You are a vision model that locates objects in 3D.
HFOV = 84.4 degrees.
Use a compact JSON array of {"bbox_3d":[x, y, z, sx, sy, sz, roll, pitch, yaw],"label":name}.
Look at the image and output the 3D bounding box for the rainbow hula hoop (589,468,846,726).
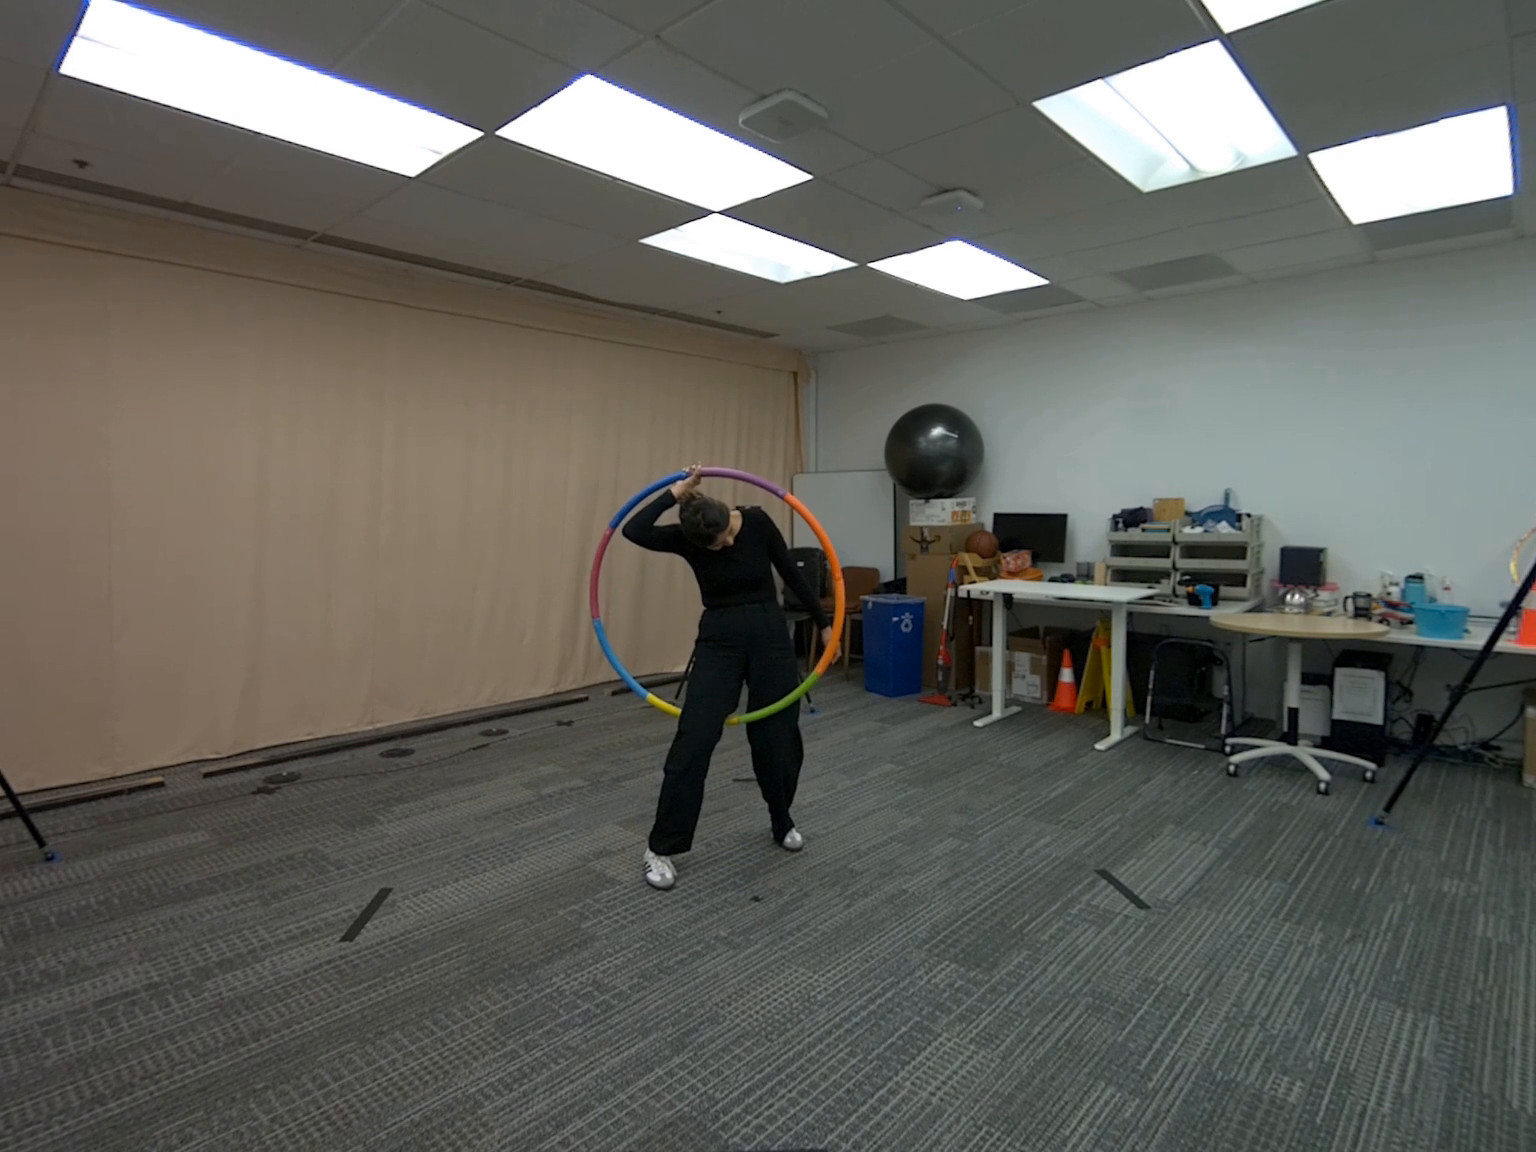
[{"bbox_3d":[-0.191,0.085,3.196,0.990,0.973,0.035,1,8,11],"label":"rainbow hula hoop"}]
